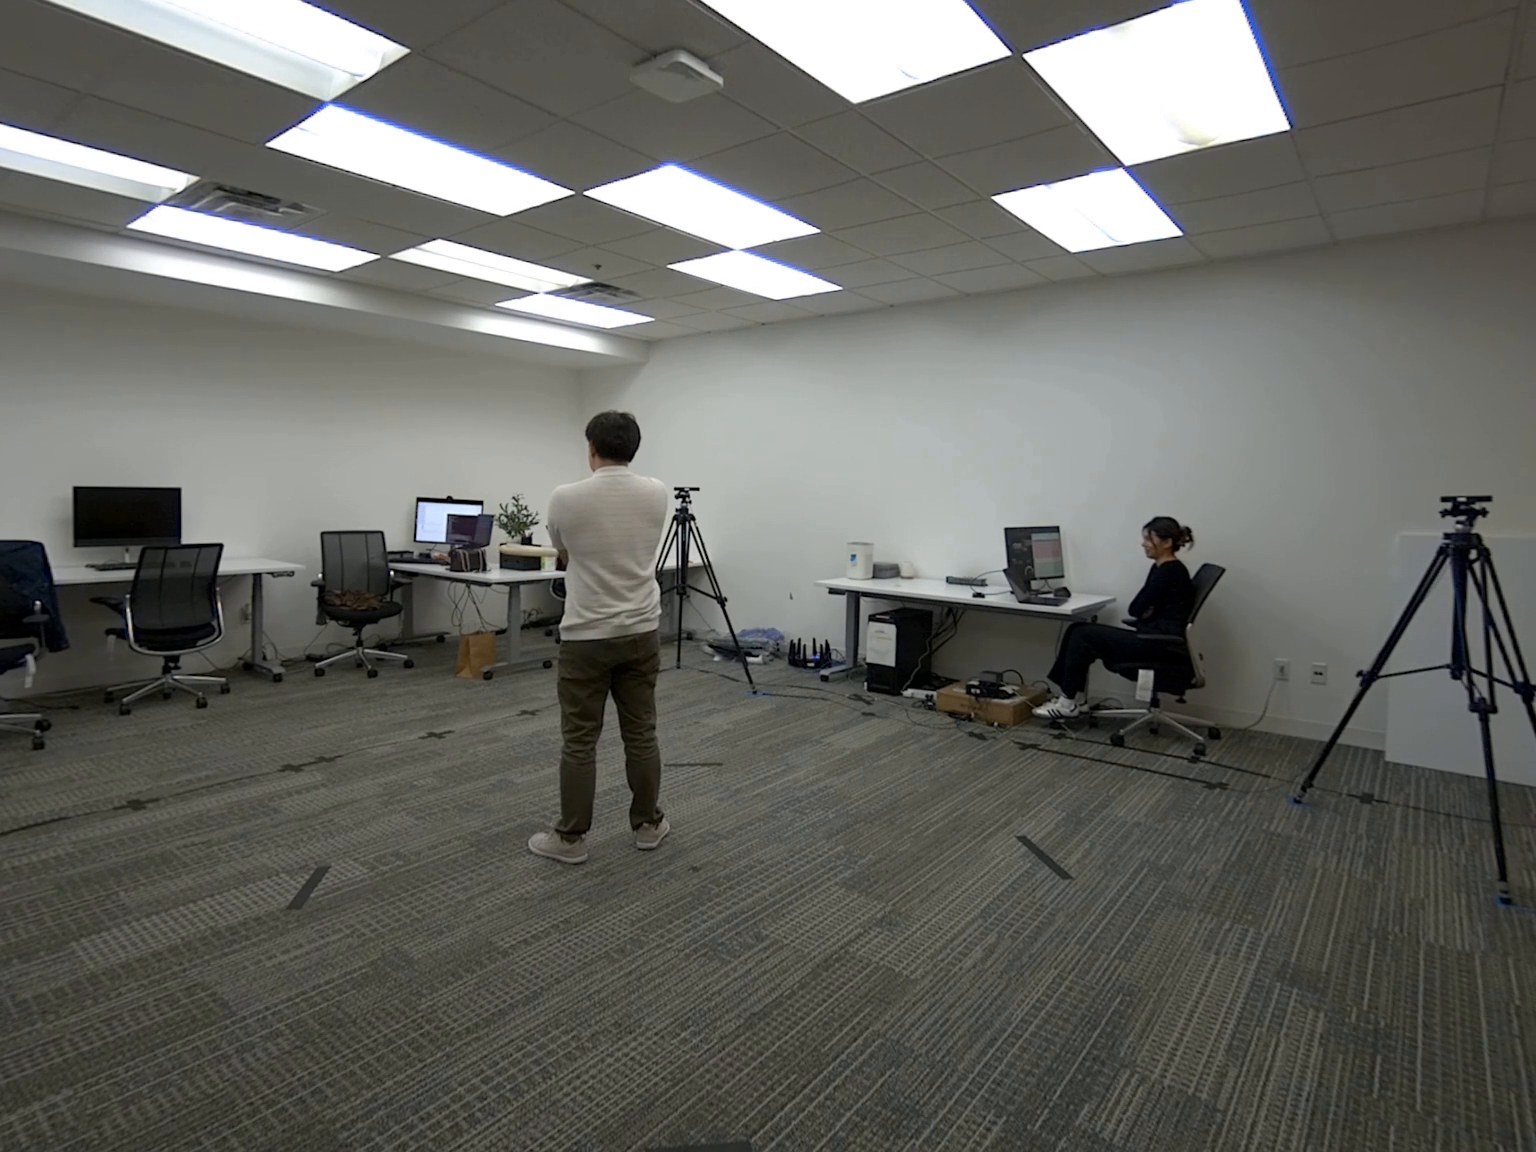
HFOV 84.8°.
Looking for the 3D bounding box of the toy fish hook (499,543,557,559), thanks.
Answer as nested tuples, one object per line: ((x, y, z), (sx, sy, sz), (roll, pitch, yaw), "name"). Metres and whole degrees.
((-0.937, -0.108, 3.741), (0.519, 0.048, 0.221), (5, 13, 23), "toy fish hook")
